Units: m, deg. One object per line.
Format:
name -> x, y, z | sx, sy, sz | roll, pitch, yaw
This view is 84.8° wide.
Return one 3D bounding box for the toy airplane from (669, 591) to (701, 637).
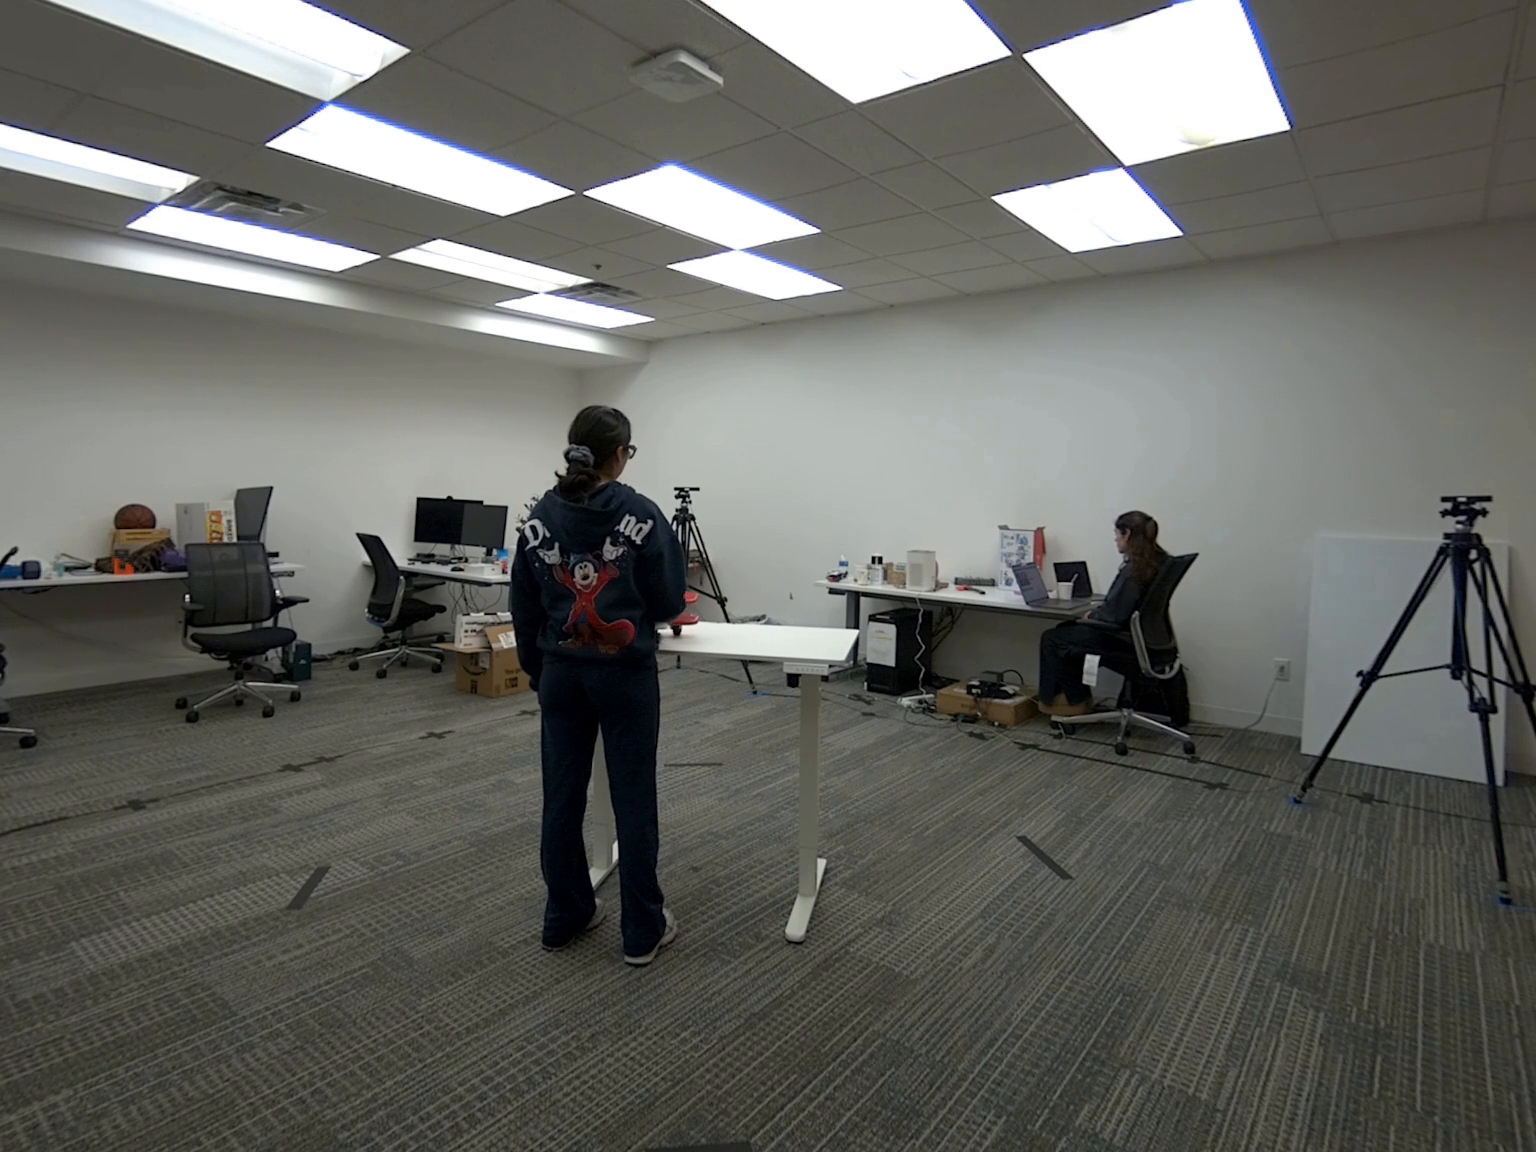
toy airplane -> -0.351, 0.130, 2.860 | 0.246, 0.156, 0.265 | 0, 2, -21
